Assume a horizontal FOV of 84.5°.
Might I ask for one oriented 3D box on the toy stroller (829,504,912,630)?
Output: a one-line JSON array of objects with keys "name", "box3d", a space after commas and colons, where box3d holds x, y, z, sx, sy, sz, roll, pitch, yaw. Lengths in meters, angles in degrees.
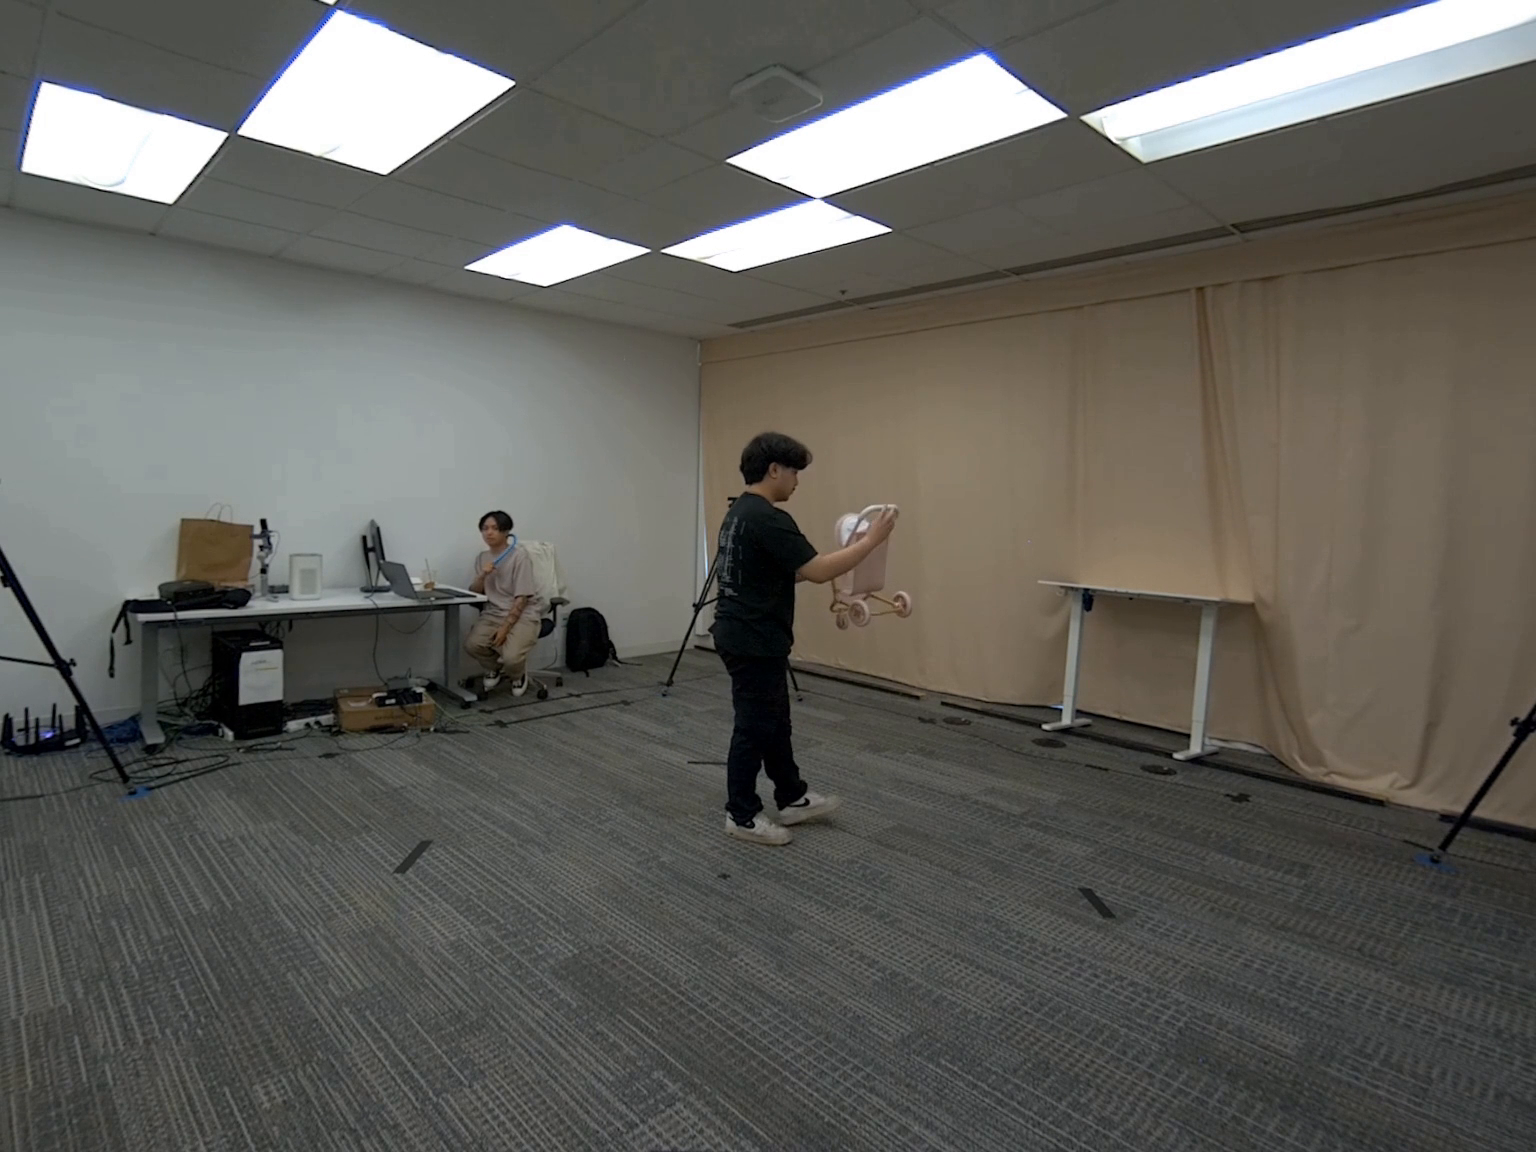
[{"name": "toy stroller", "box3d": [0.377, -0.024, 3.522, 0.276, 0.533, 0.349, -7, 6, -31]}]
